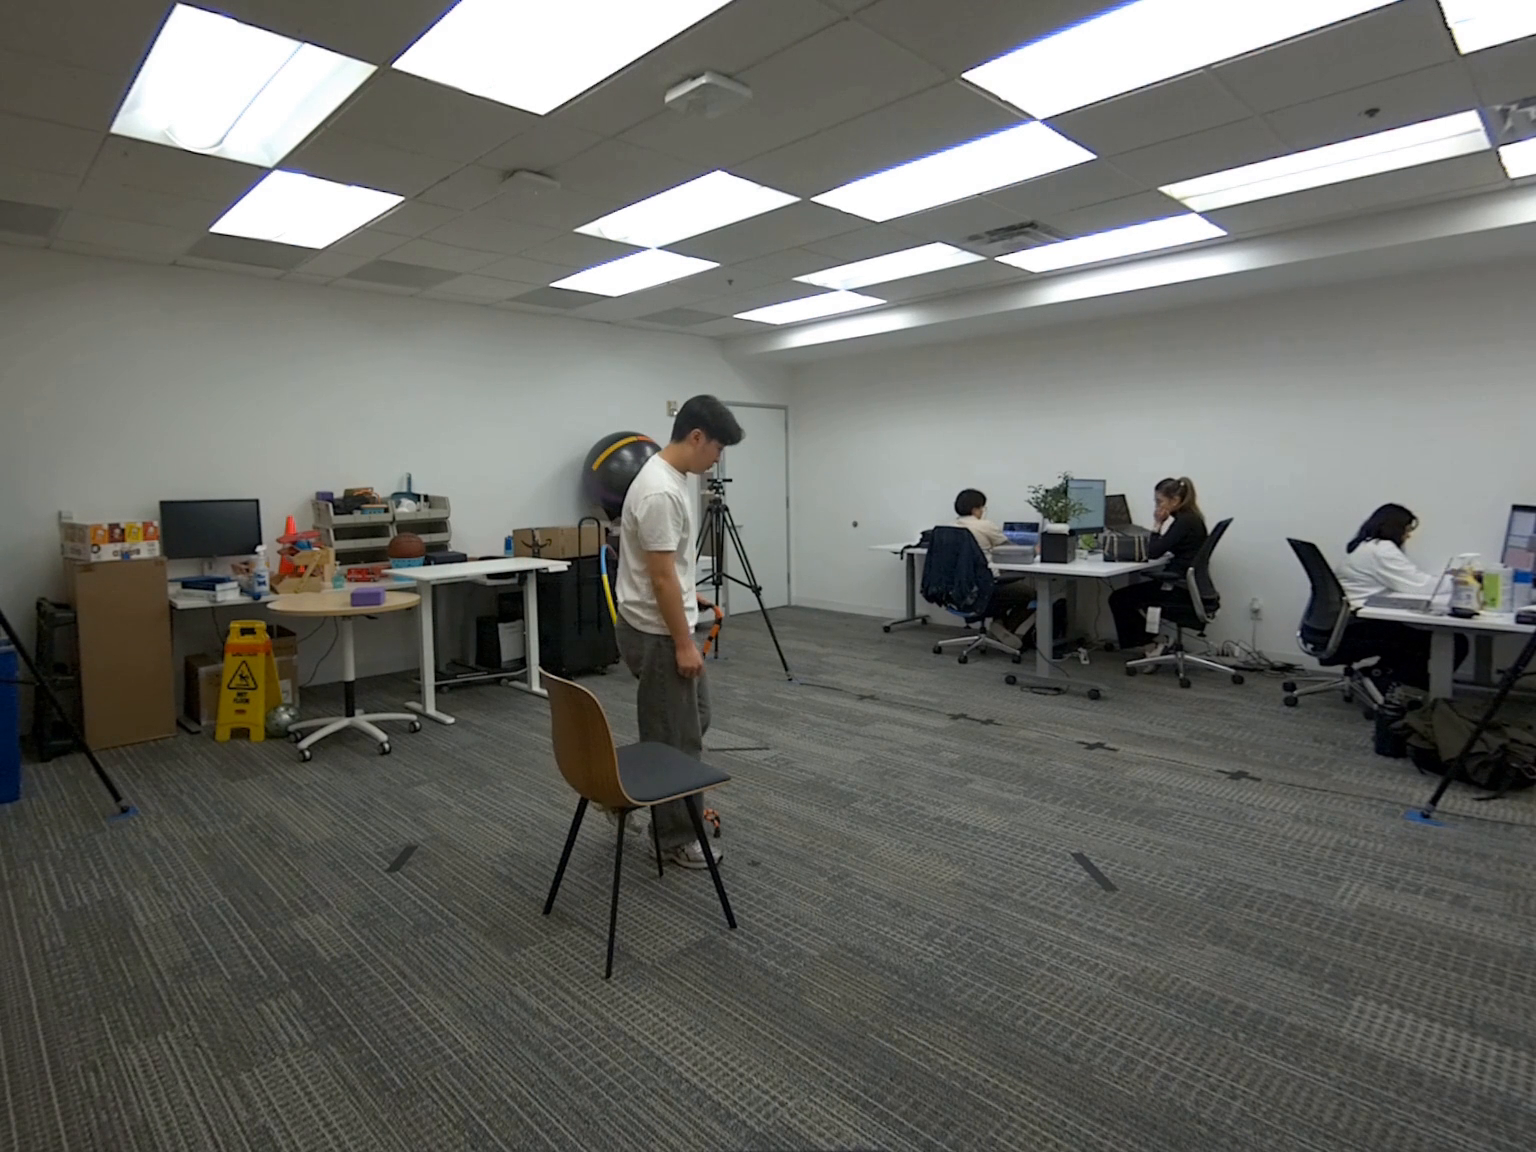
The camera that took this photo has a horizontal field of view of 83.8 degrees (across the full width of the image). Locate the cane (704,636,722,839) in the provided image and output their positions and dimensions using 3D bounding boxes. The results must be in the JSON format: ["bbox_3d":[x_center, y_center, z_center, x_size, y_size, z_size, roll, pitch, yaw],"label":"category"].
[{"bbox_3d":[-0.273,0.559,3.407,0.207,0.908,0.151,2,0,1],"label":"cane"}]
